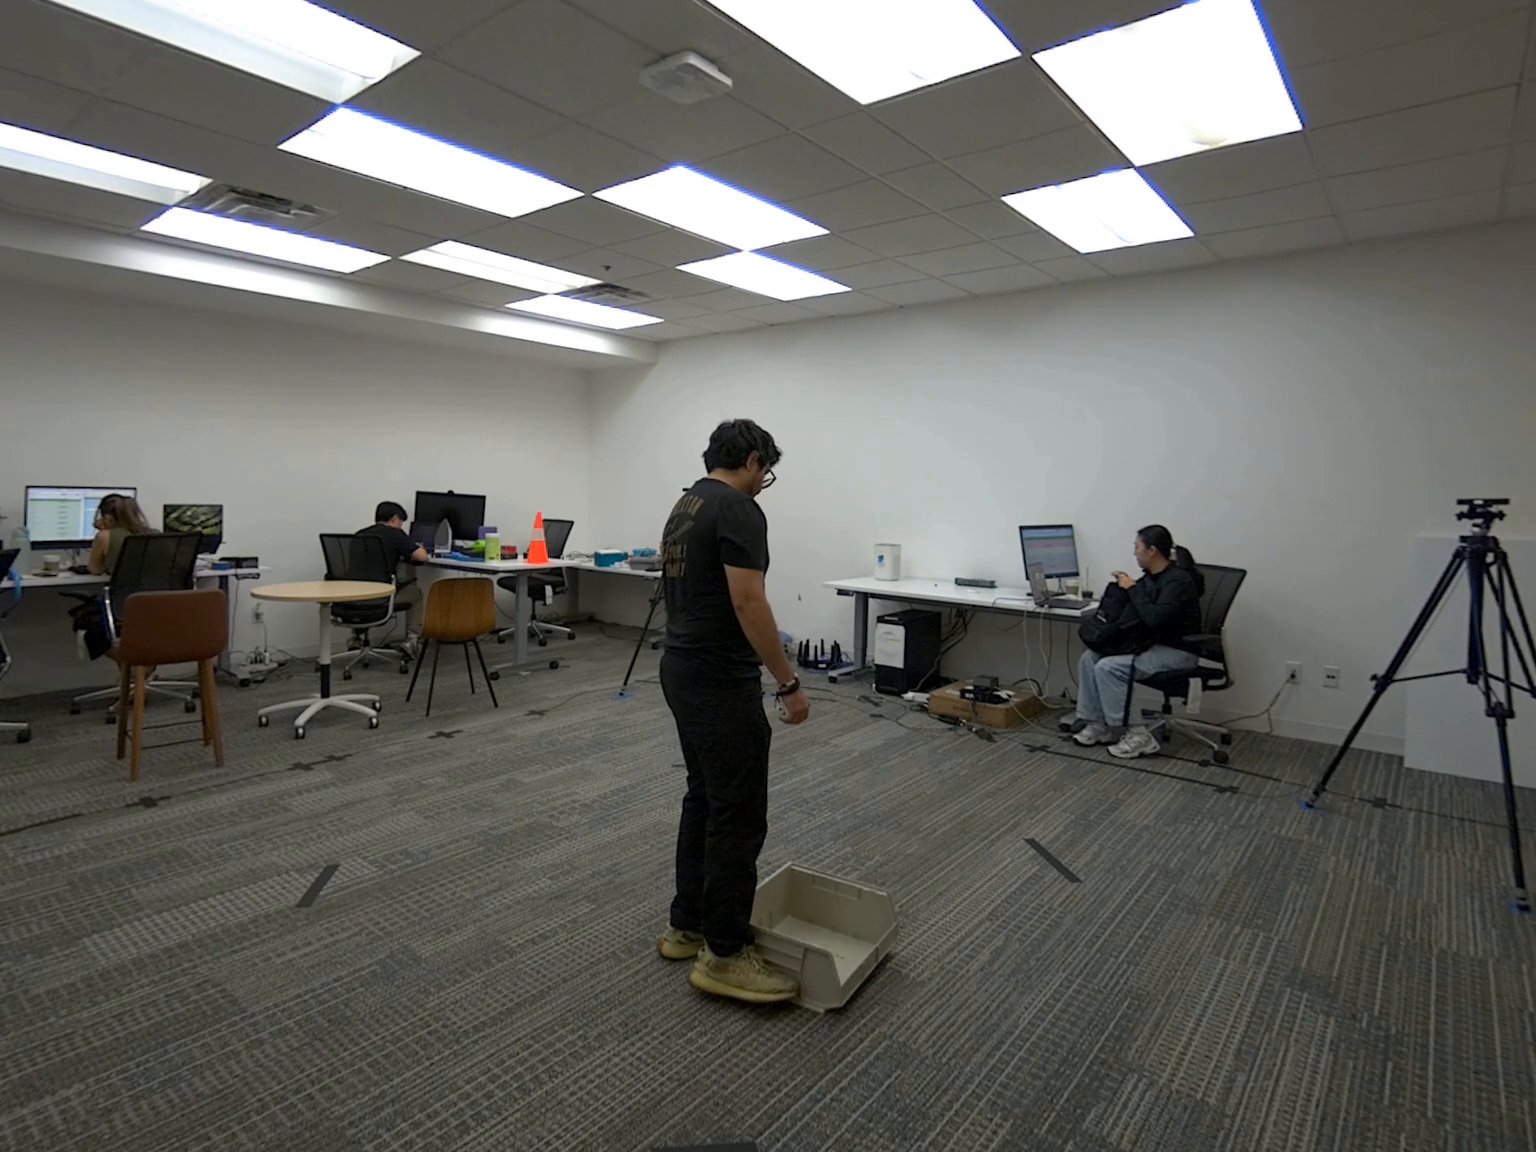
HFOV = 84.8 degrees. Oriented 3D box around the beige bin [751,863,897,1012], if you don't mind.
[{"bbox_3d":[0.131,1.050,2.506,0.388,0.188,0.412,4,6,30],"label":"beige bin"}]
